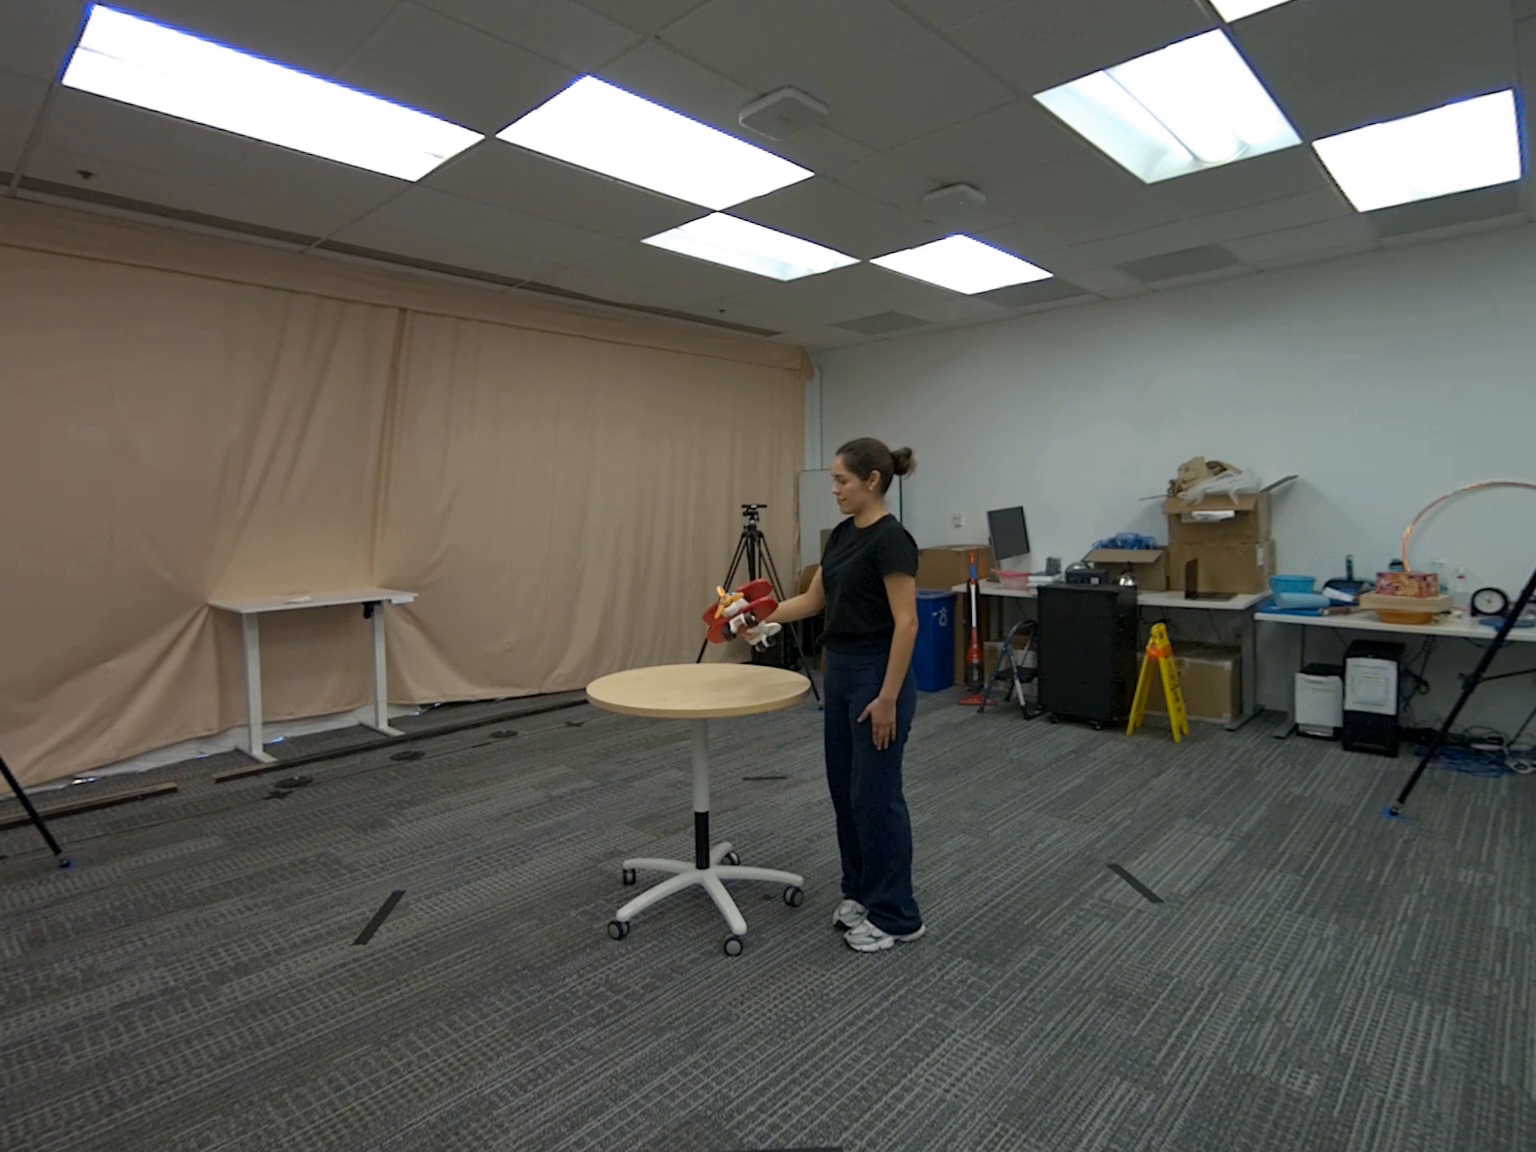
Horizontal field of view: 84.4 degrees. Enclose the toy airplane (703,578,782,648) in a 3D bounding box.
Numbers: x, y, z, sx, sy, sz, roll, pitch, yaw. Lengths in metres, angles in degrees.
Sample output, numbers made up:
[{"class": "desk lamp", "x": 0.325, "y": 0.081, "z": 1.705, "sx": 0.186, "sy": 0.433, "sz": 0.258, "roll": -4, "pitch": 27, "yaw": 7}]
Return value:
[{"class": "toy airplane", "x": -0.066, "y": 0.139, "z": 2.728, "sx": 0.249, "sy": 0.160, "sz": 0.254, "roll": -18, "pitch": -30, "yaw": -8}]
